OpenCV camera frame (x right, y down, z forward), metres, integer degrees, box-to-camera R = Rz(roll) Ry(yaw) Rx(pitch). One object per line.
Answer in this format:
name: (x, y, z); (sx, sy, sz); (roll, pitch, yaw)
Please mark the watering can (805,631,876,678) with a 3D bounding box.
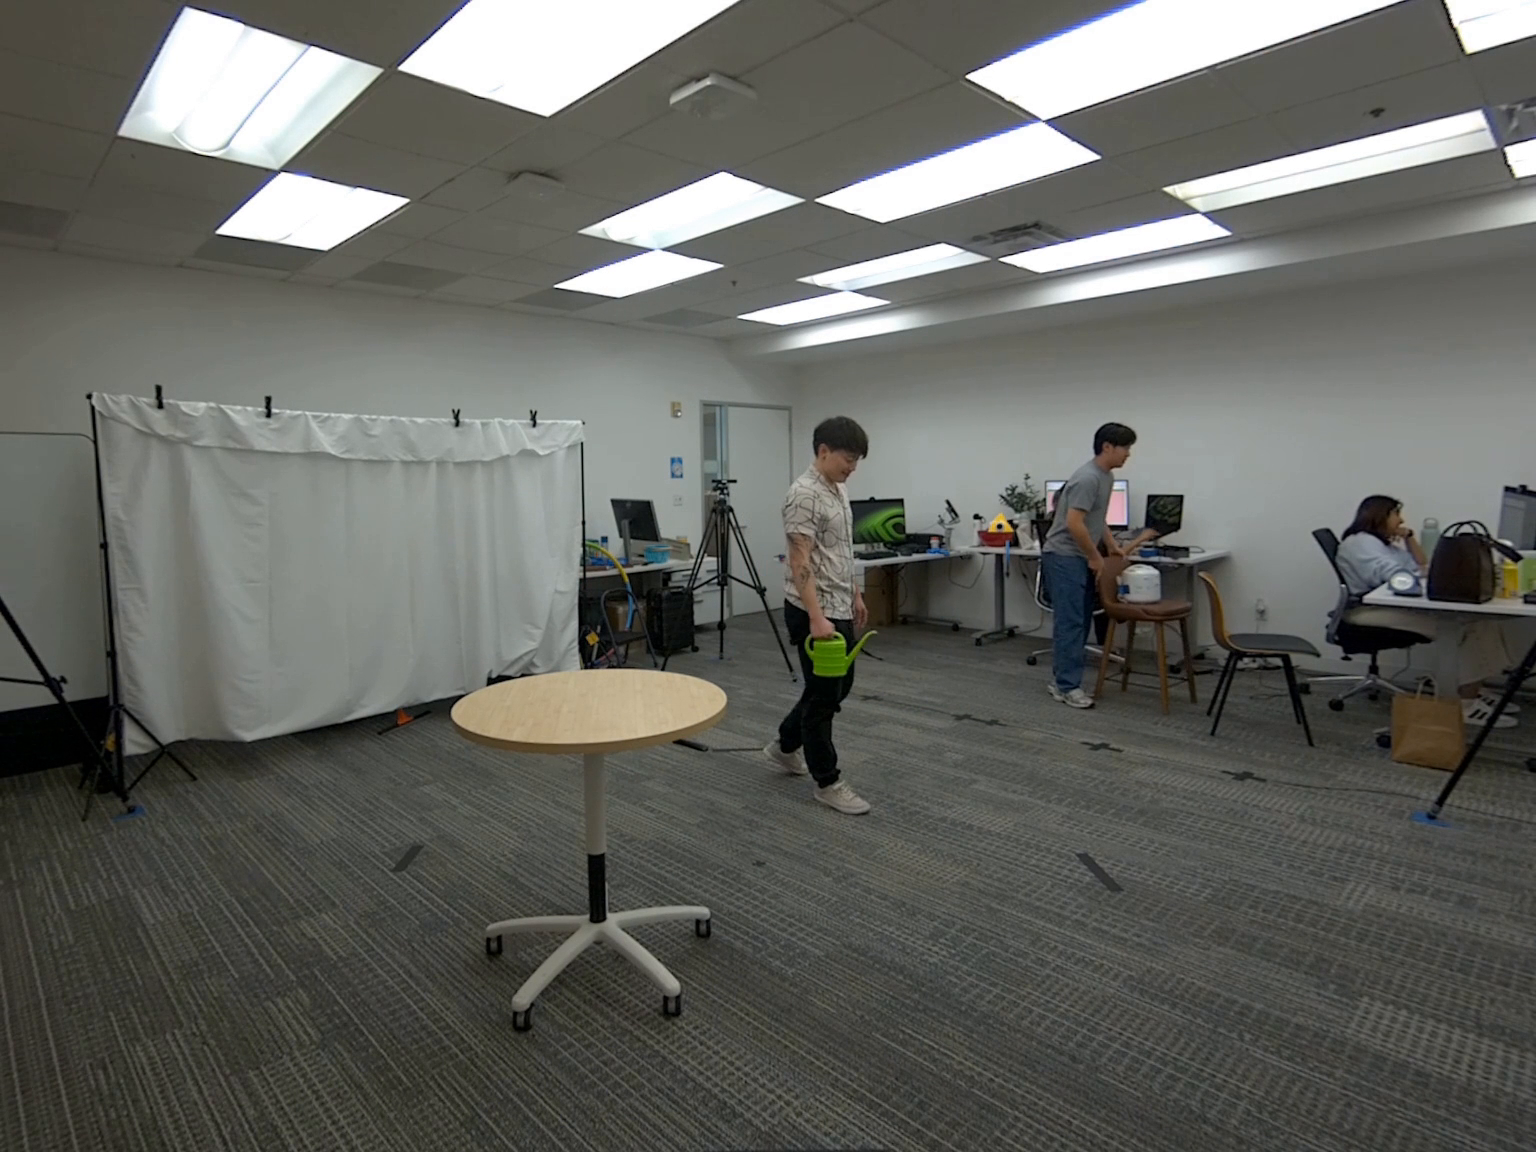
watering can: (0.280, 0.306, 3.390); (0.284, 0.176, 0.096); (1, 7, 21)
